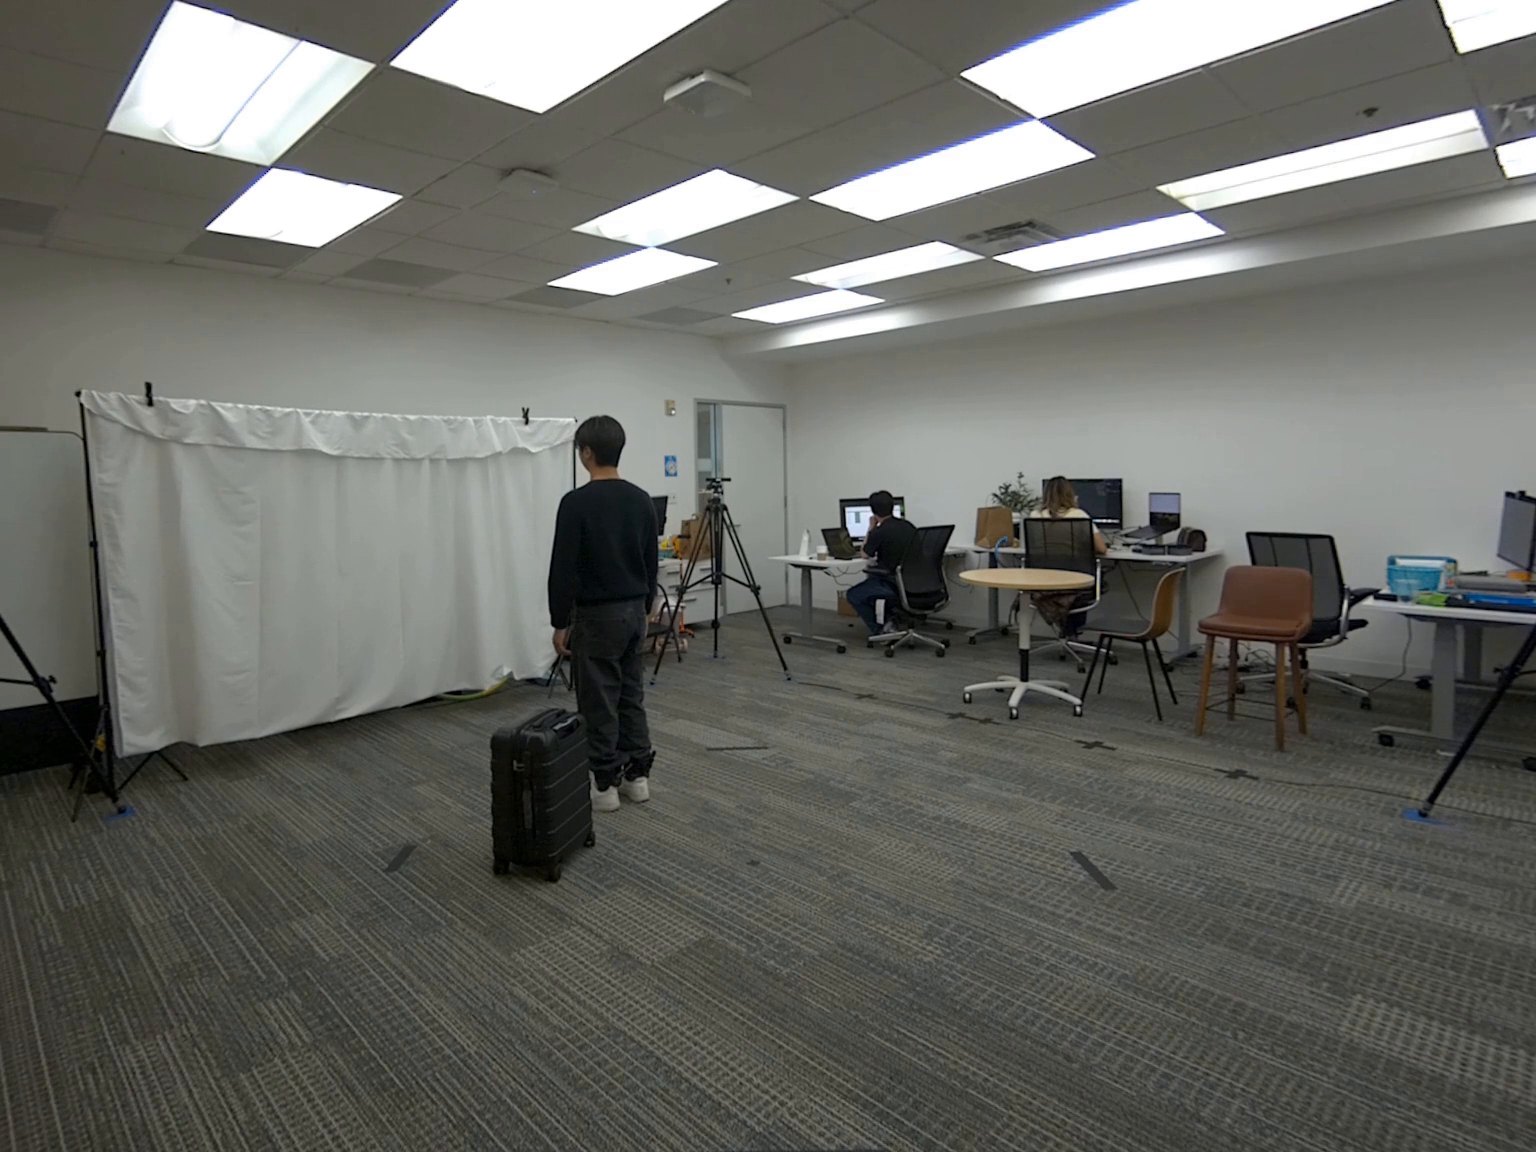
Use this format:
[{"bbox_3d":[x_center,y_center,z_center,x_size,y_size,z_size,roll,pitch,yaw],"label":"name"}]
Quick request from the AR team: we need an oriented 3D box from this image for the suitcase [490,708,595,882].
[{"bbox_3d":[-0.836,0.785,3.137,0.252,0.546,0.371,1,6,15],"label":"suitcase"}]
